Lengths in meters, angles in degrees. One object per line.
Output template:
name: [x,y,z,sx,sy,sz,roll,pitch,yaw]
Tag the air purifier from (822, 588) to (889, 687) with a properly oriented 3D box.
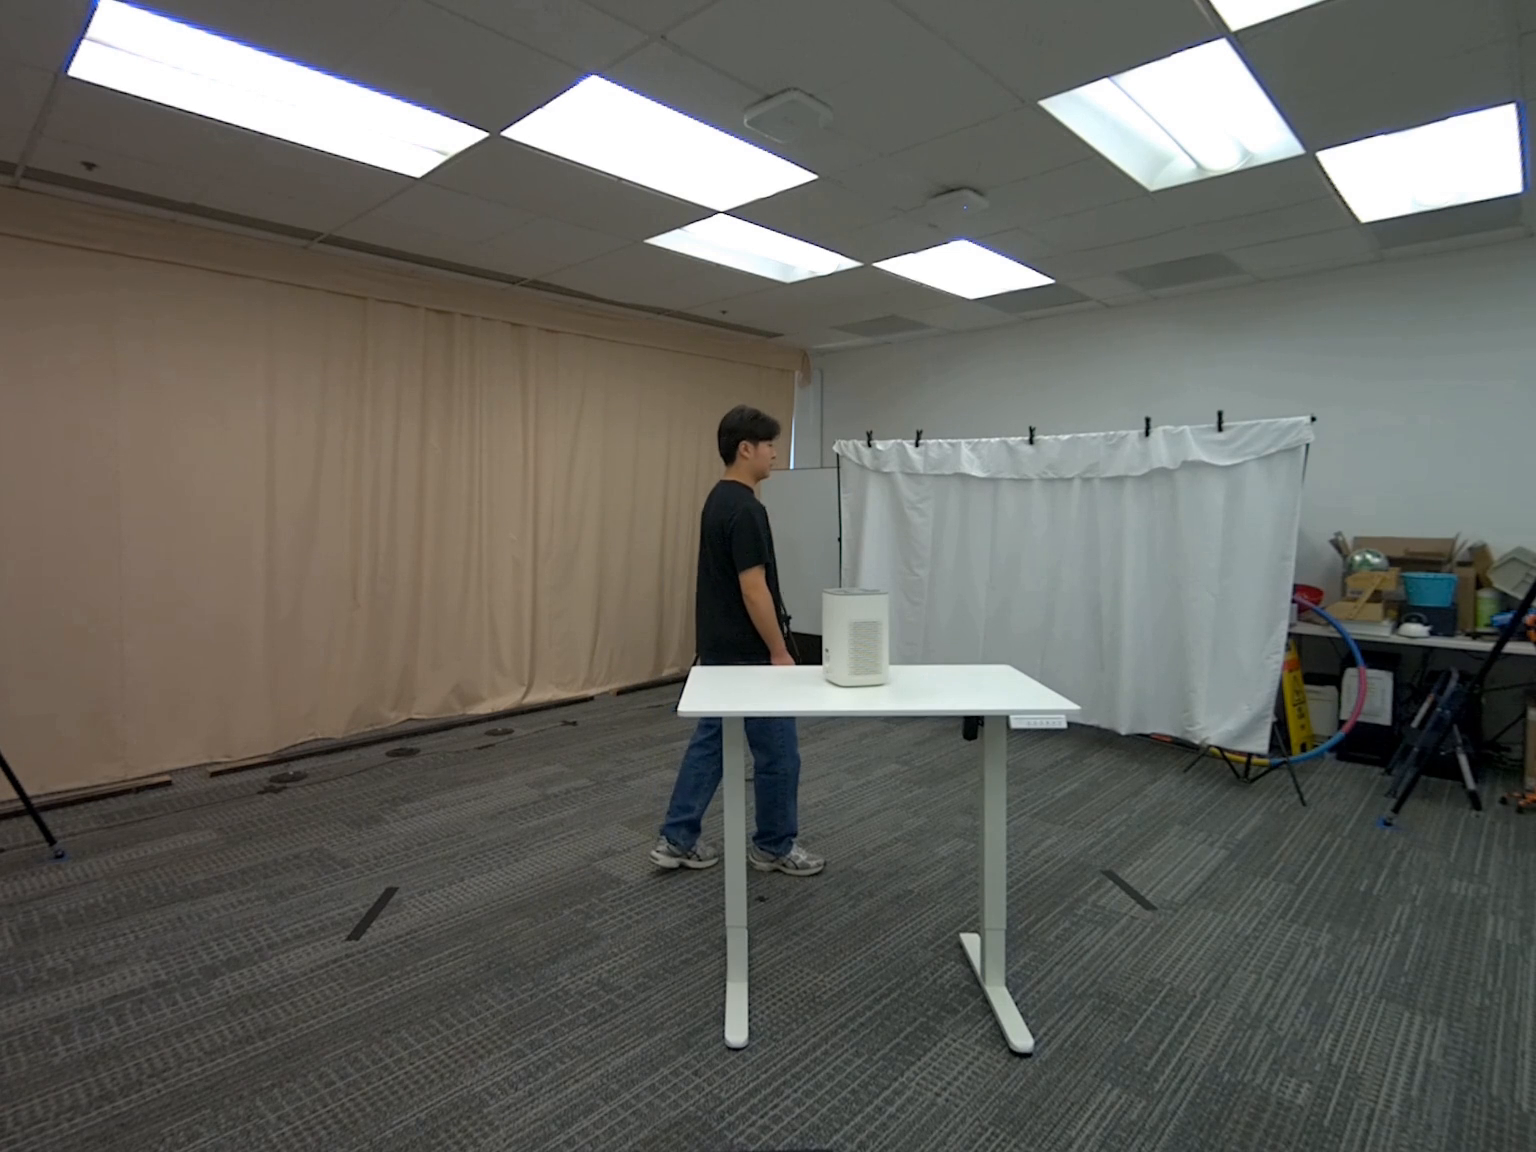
air purifier: [0.254,0.178,2.414,0.170,0.264,0.173,-3,5,-9]
